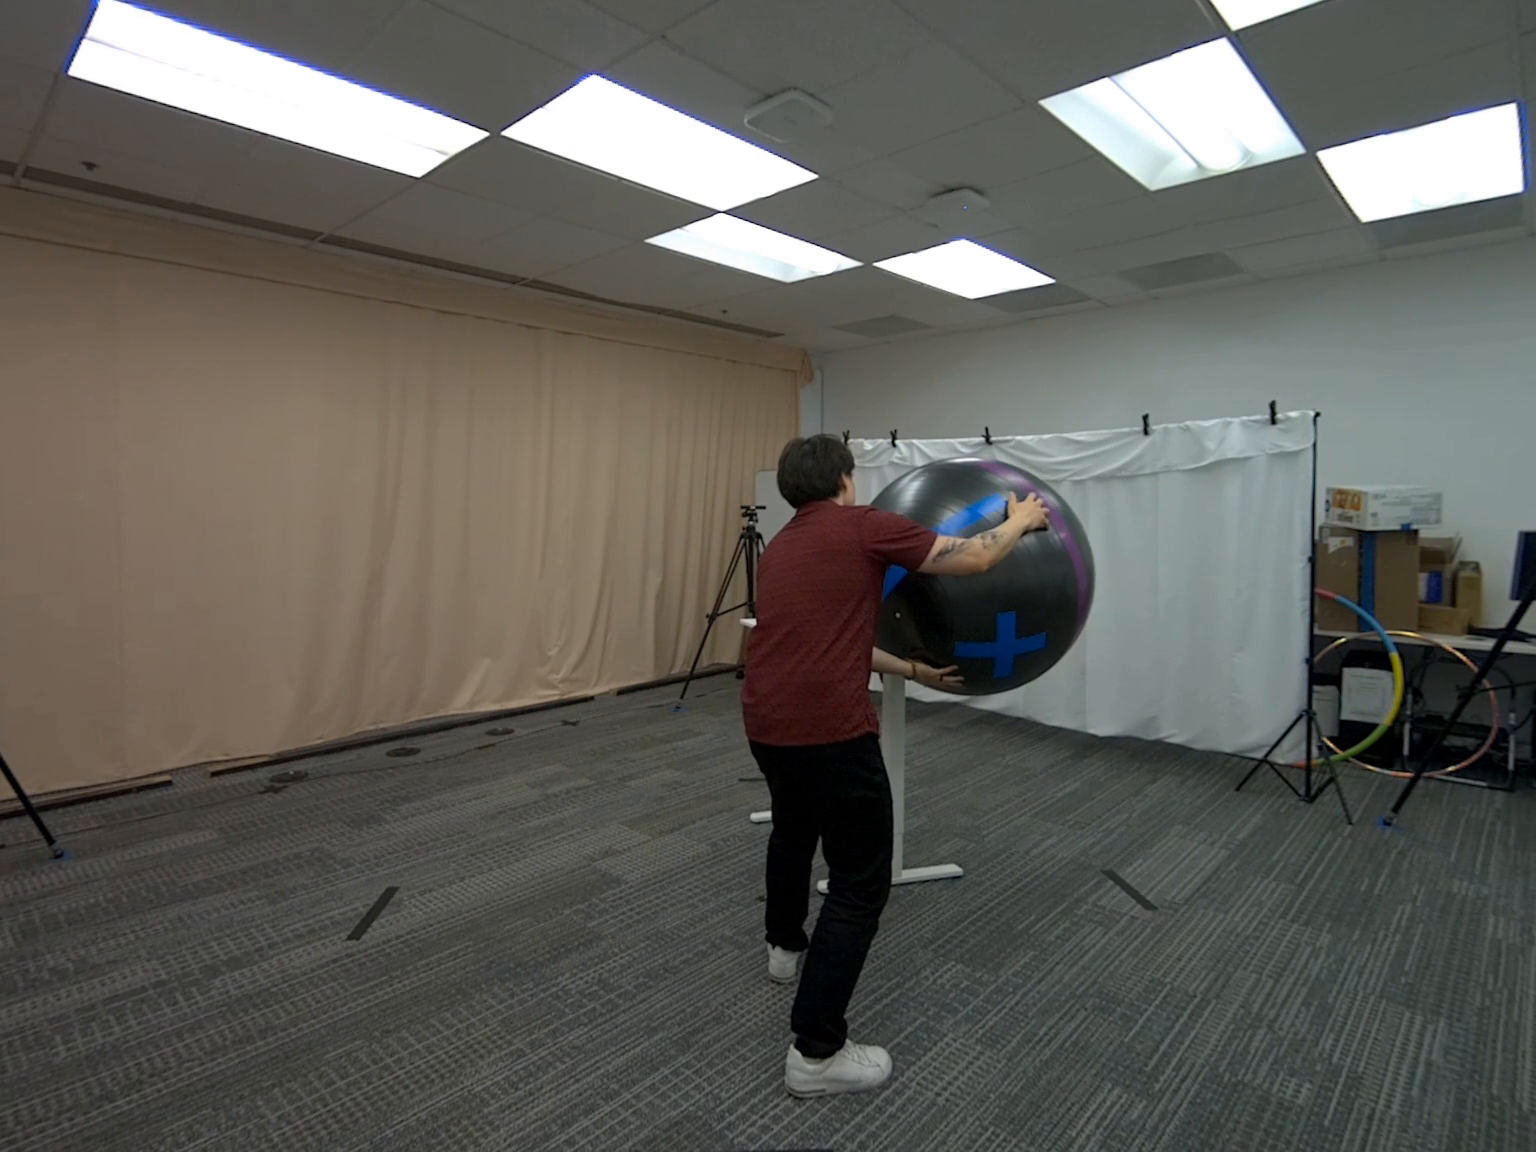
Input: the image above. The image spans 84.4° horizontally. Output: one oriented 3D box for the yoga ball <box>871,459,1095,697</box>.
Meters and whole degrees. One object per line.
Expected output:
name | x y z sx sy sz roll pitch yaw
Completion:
yoga ball | 0.646 0.009 2.709 0.757 0.756 0.760 0 4 -2
